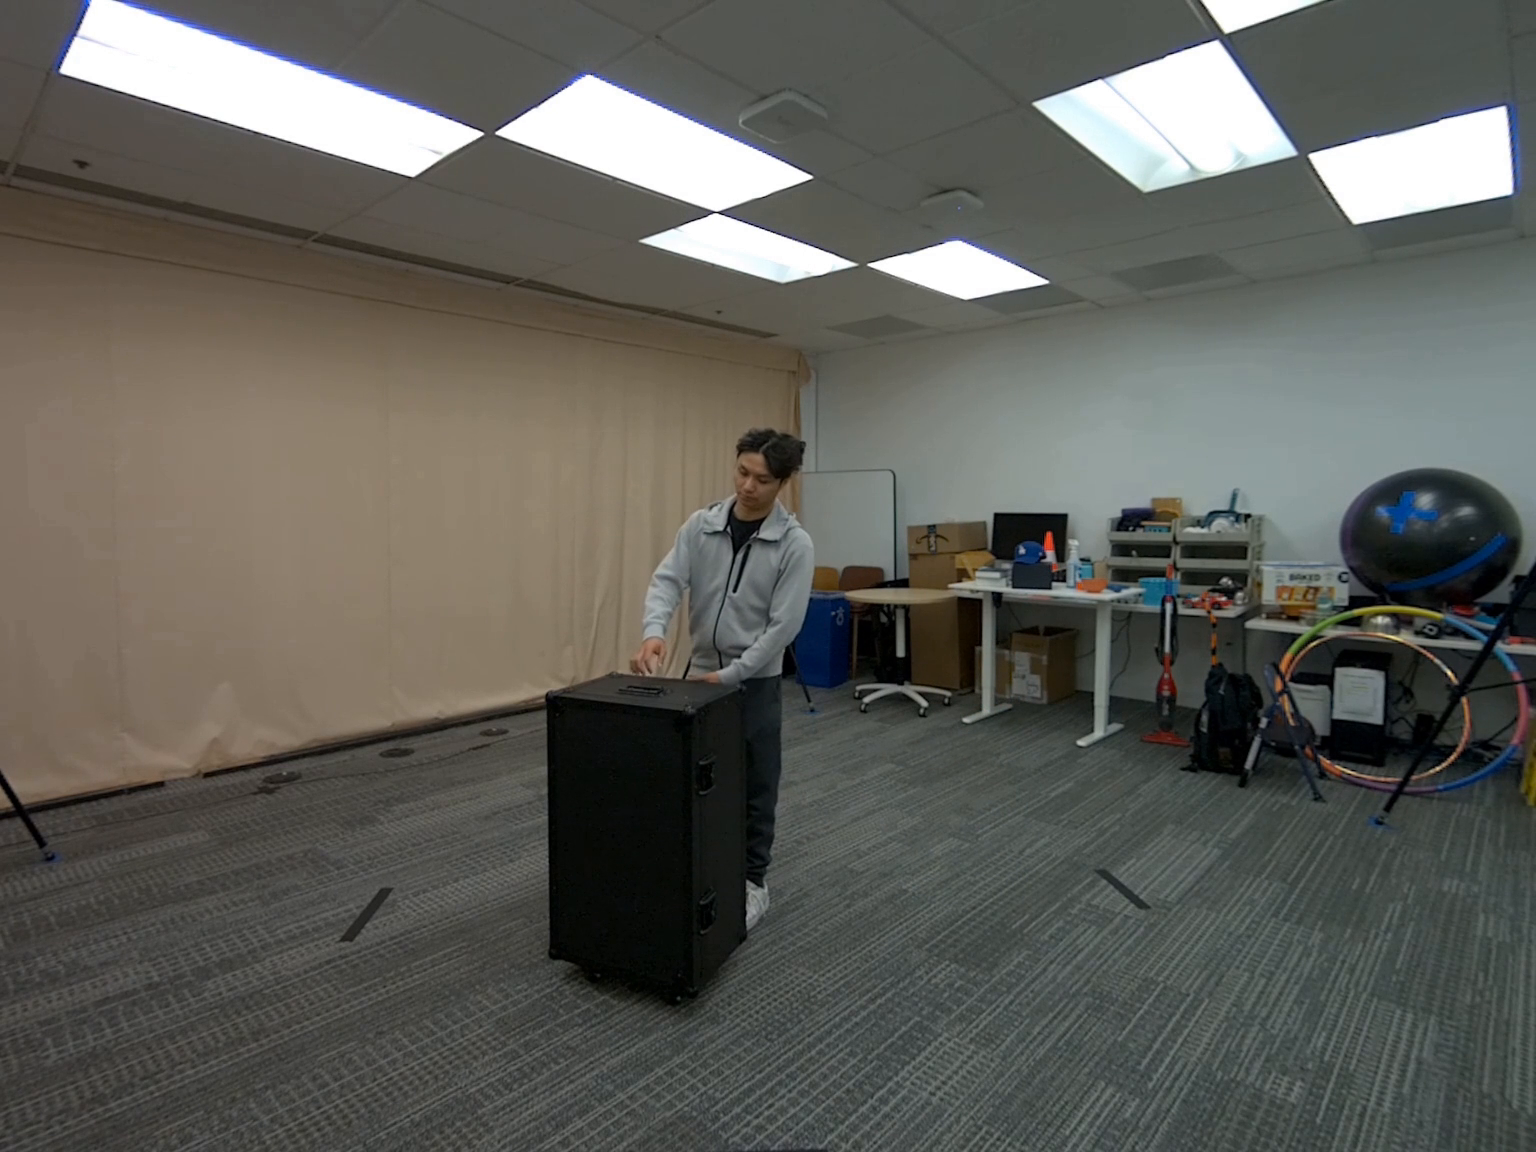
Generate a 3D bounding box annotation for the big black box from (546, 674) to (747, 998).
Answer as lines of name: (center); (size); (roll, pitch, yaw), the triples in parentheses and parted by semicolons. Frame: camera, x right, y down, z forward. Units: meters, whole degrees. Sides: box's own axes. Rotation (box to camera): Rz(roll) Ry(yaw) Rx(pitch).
big black box: (-0.362, 0.762, 2.510); (0.534, 0.860, 0.387); (1, 2, 24)
